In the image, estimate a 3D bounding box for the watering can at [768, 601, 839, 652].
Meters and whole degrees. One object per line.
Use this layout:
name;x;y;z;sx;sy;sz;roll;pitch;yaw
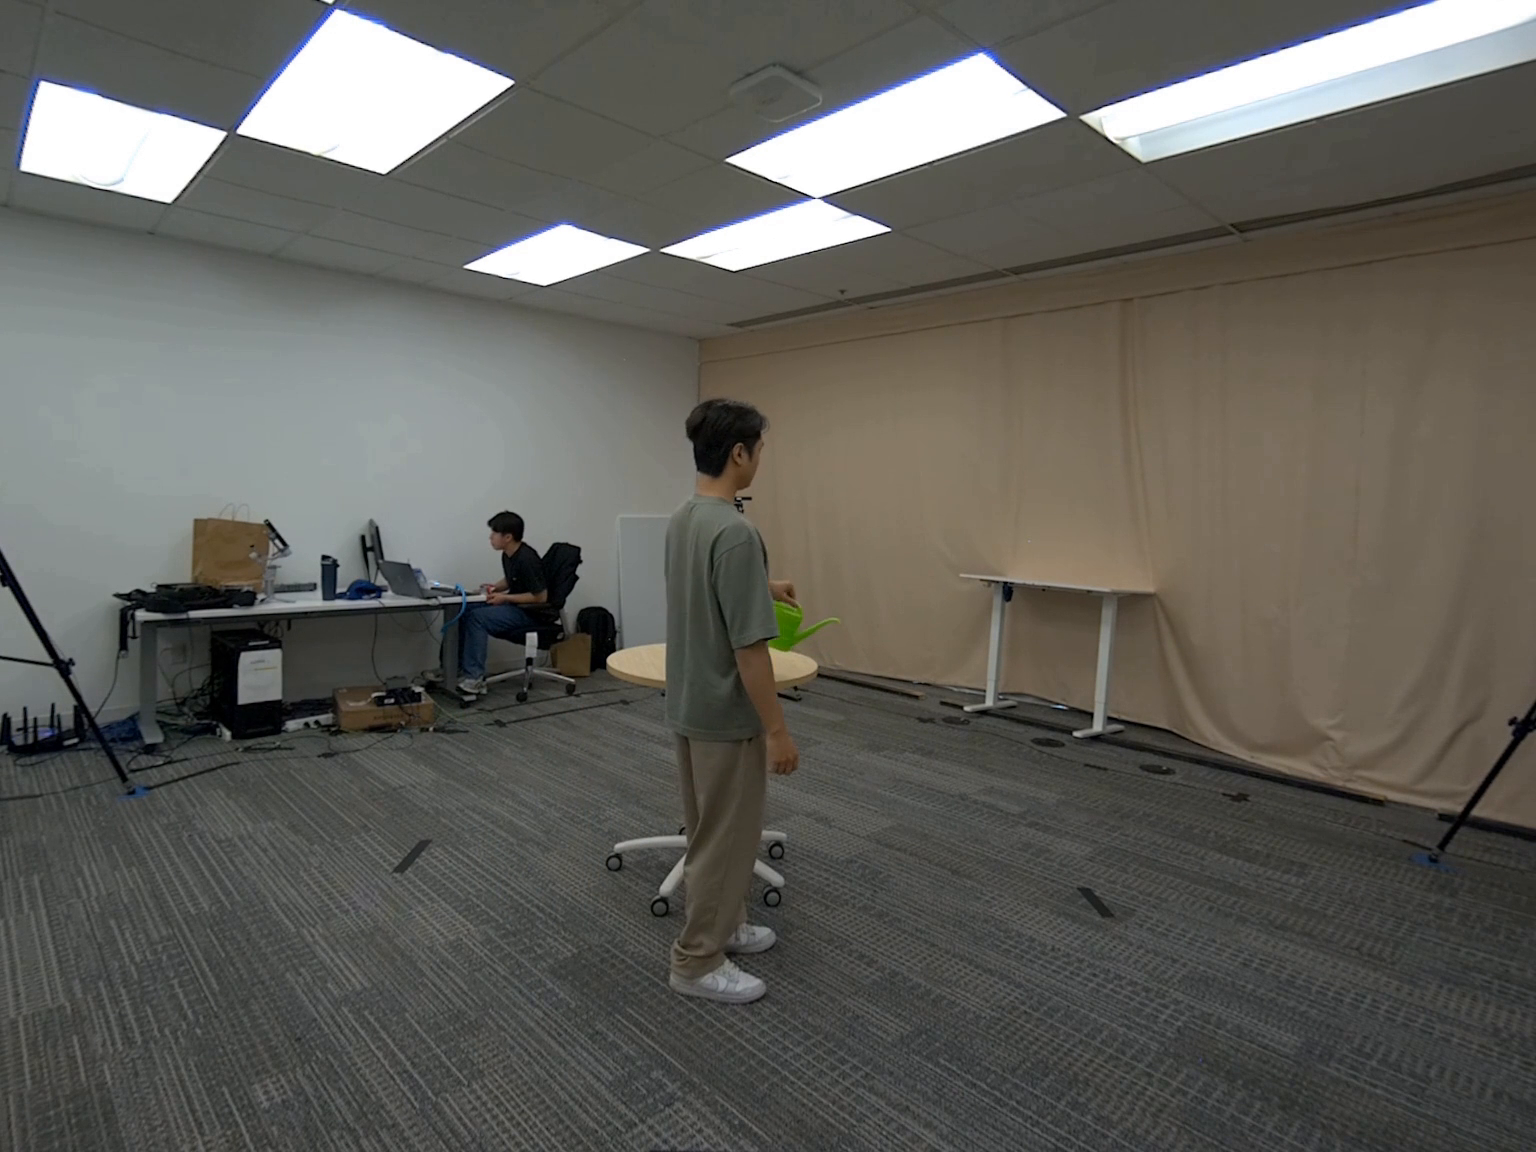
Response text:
watering can;0.079;0.173;2.836;0.285;0.176;0.096;26;10;28
